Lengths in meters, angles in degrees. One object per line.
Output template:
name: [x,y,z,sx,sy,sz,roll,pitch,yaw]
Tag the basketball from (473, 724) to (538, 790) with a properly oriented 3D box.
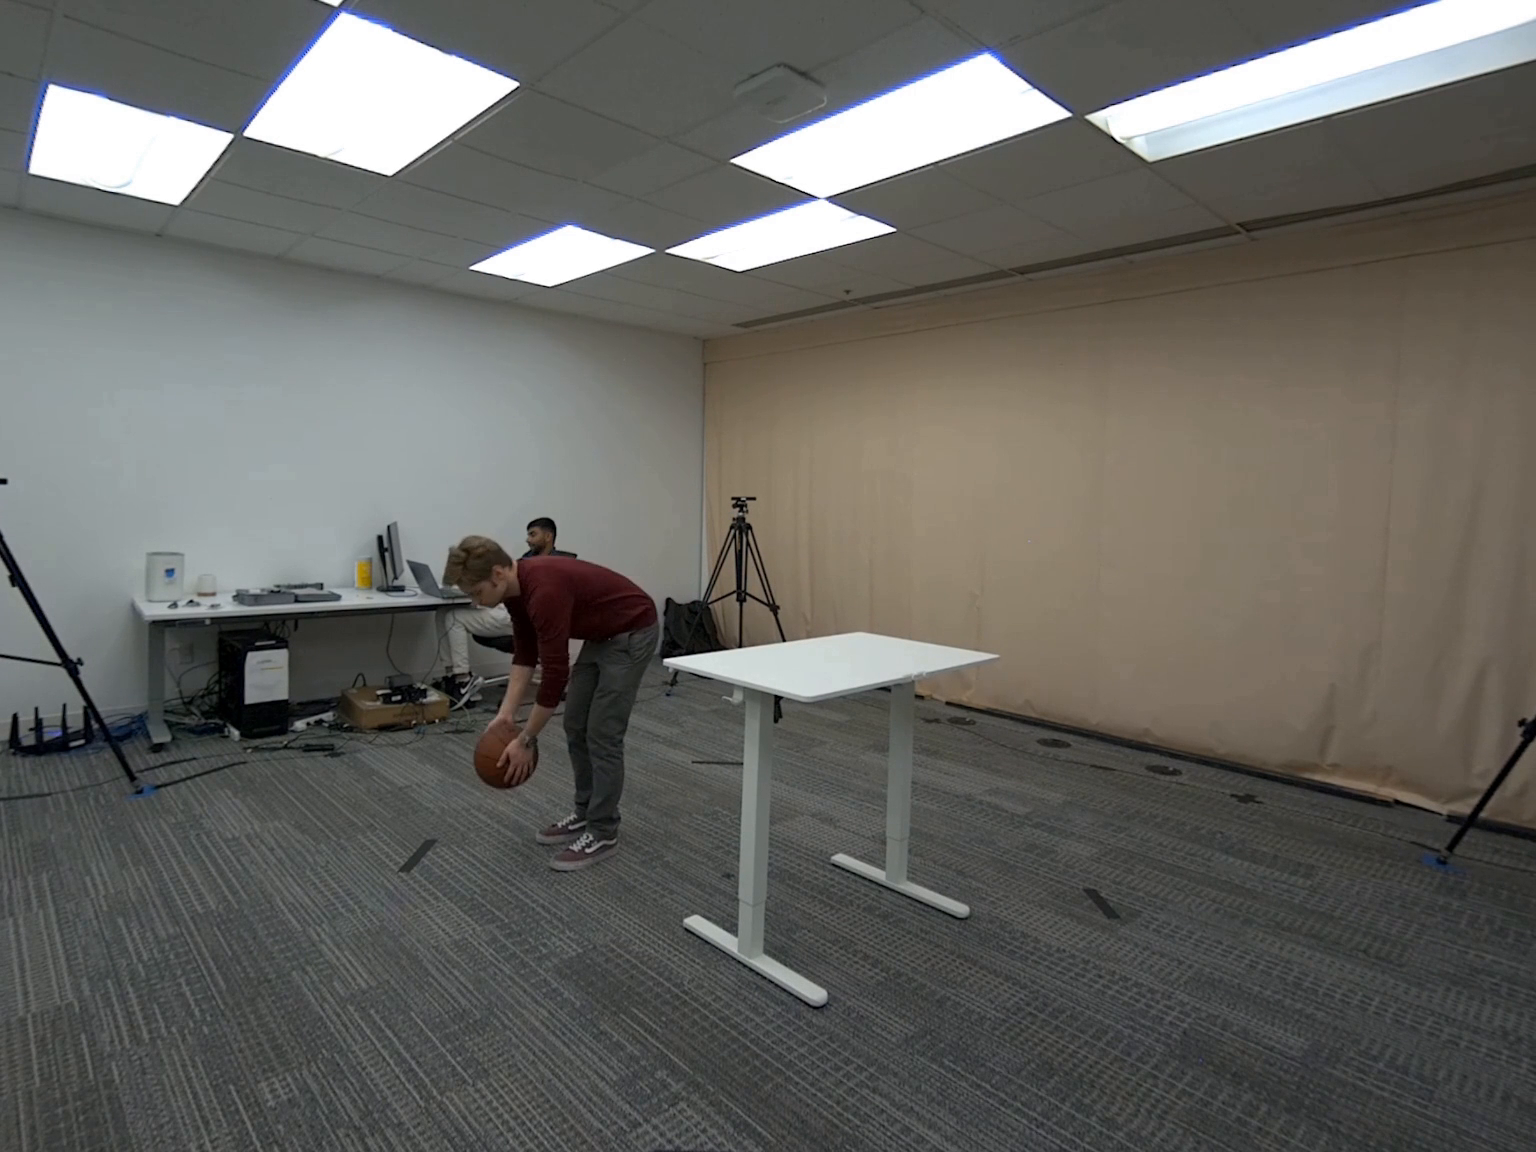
basketball: [-0.994,0.663,3.177,0.236,0.235,0.237,1,4,-1]
